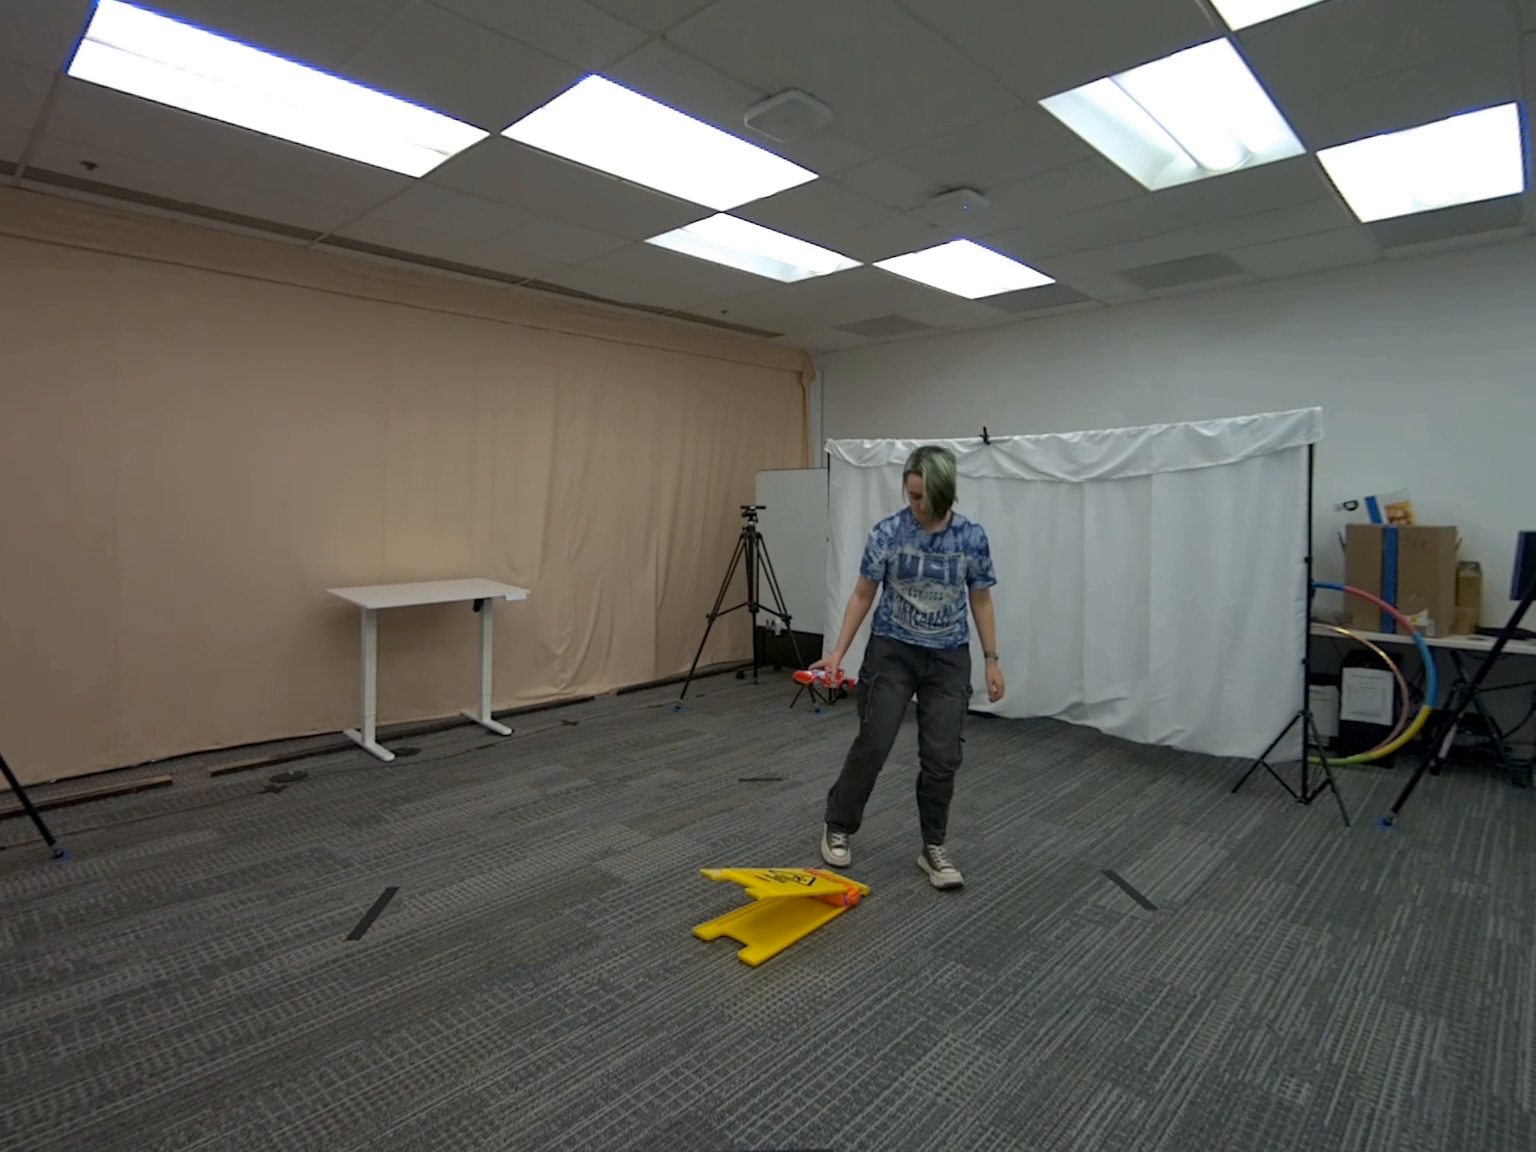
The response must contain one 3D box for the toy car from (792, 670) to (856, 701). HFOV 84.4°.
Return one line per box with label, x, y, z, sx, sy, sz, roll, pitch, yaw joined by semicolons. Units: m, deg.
toy car;0.222;0.397;3.151;0.247;0.083;0.134;-1;5;-38
